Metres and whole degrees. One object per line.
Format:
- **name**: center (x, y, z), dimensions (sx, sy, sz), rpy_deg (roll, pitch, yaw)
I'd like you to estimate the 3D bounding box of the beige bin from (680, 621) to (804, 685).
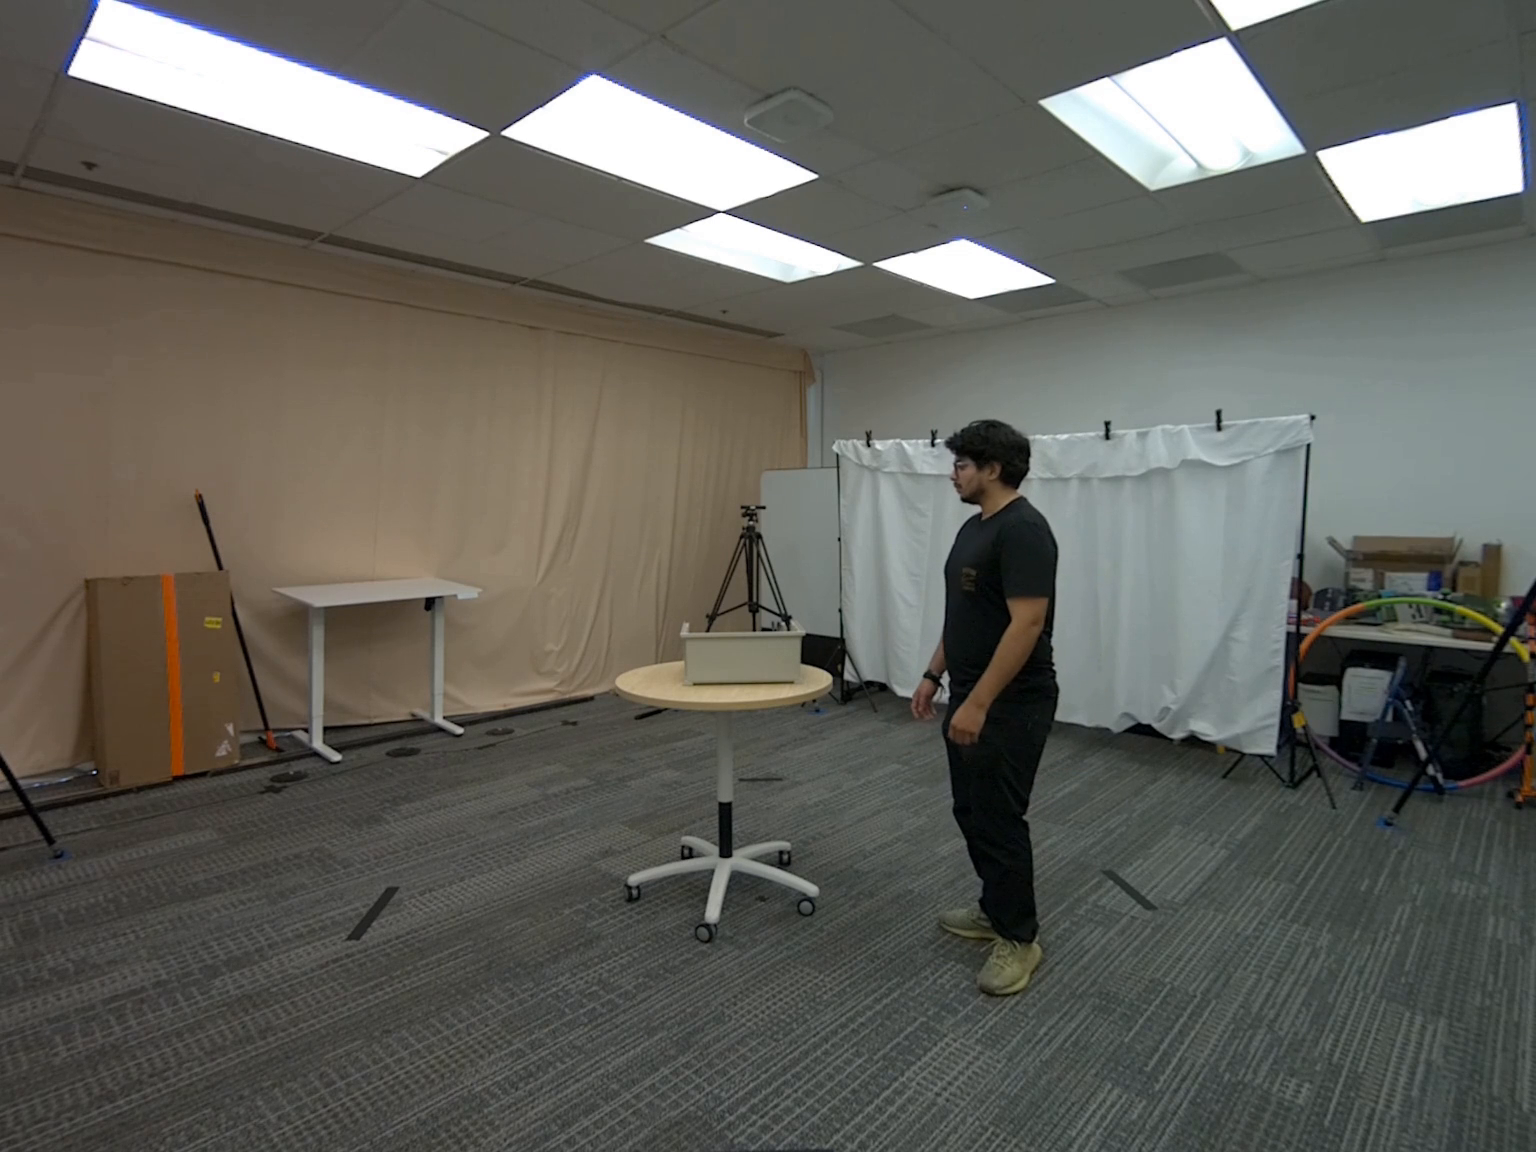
- **beige bin**: center (-0.099, 0.273, 3.036), dimensions (0.421, 0.188, 0.379), rpy_deg (-2, 5, -3)
